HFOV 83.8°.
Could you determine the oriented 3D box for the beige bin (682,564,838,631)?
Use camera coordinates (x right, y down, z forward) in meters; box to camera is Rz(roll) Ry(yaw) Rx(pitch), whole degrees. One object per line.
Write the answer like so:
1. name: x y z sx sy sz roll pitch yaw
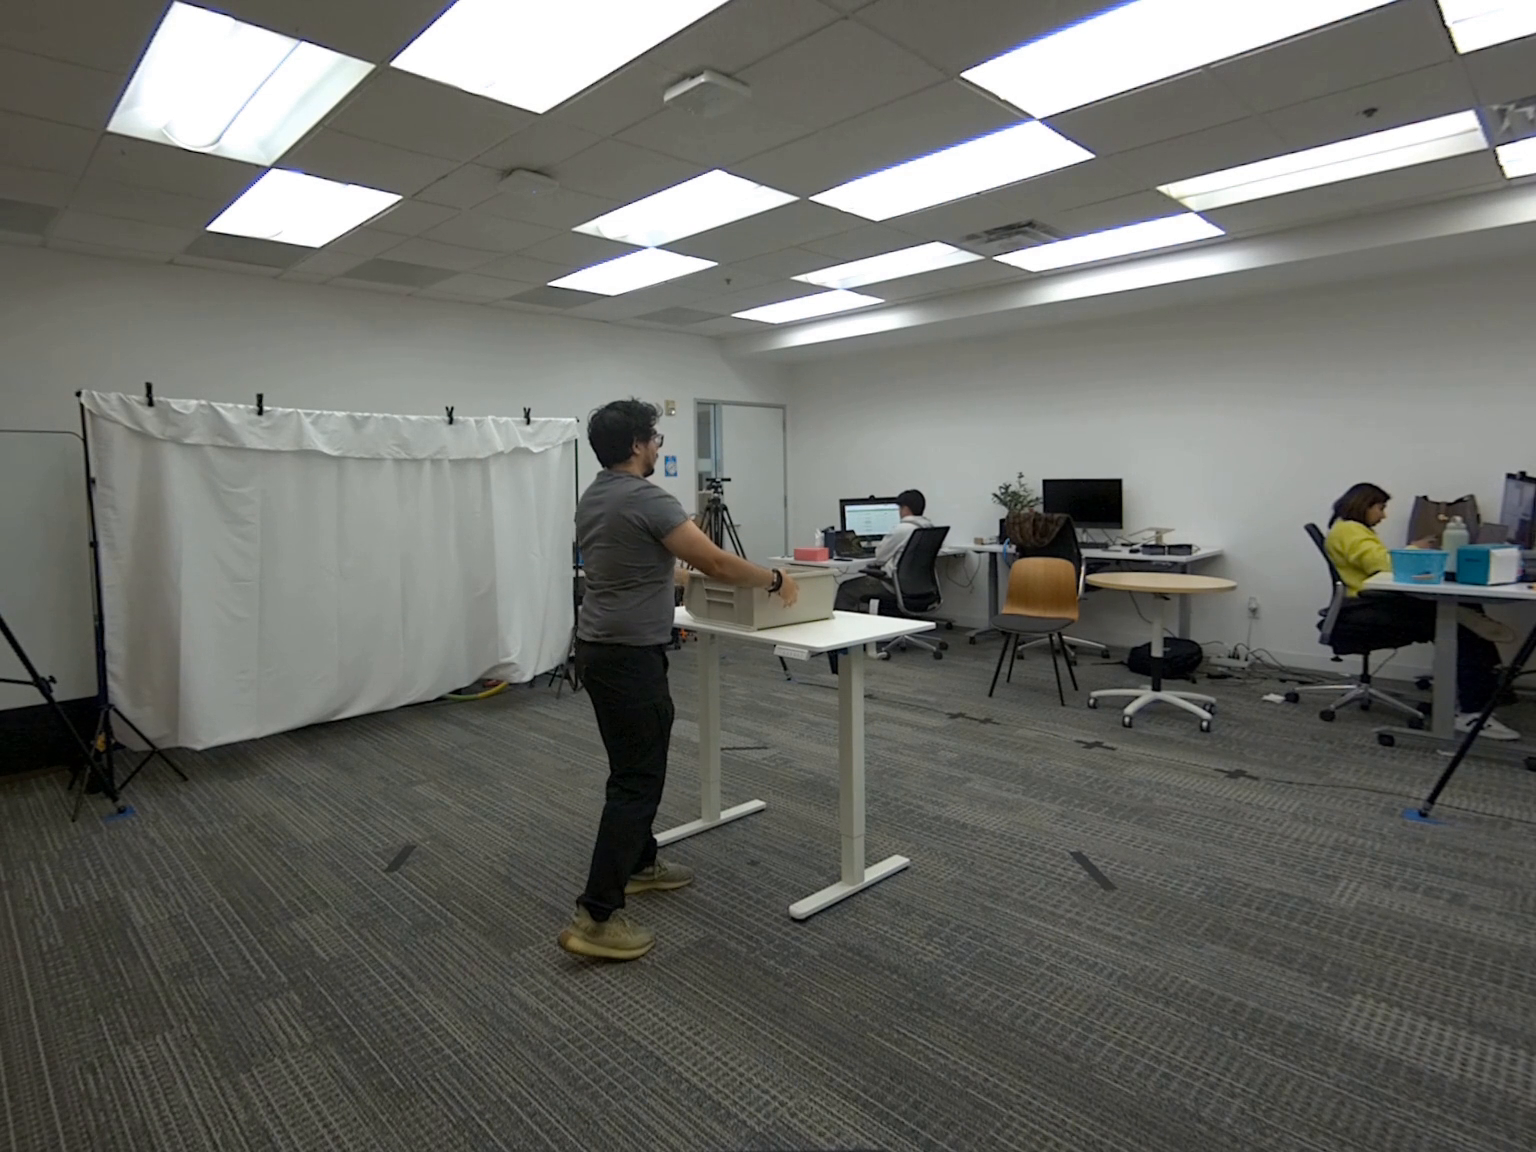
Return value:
1. beige bin: -0.025 0.072 3.084 0.411 0.188 0.389 -5 8 -40
